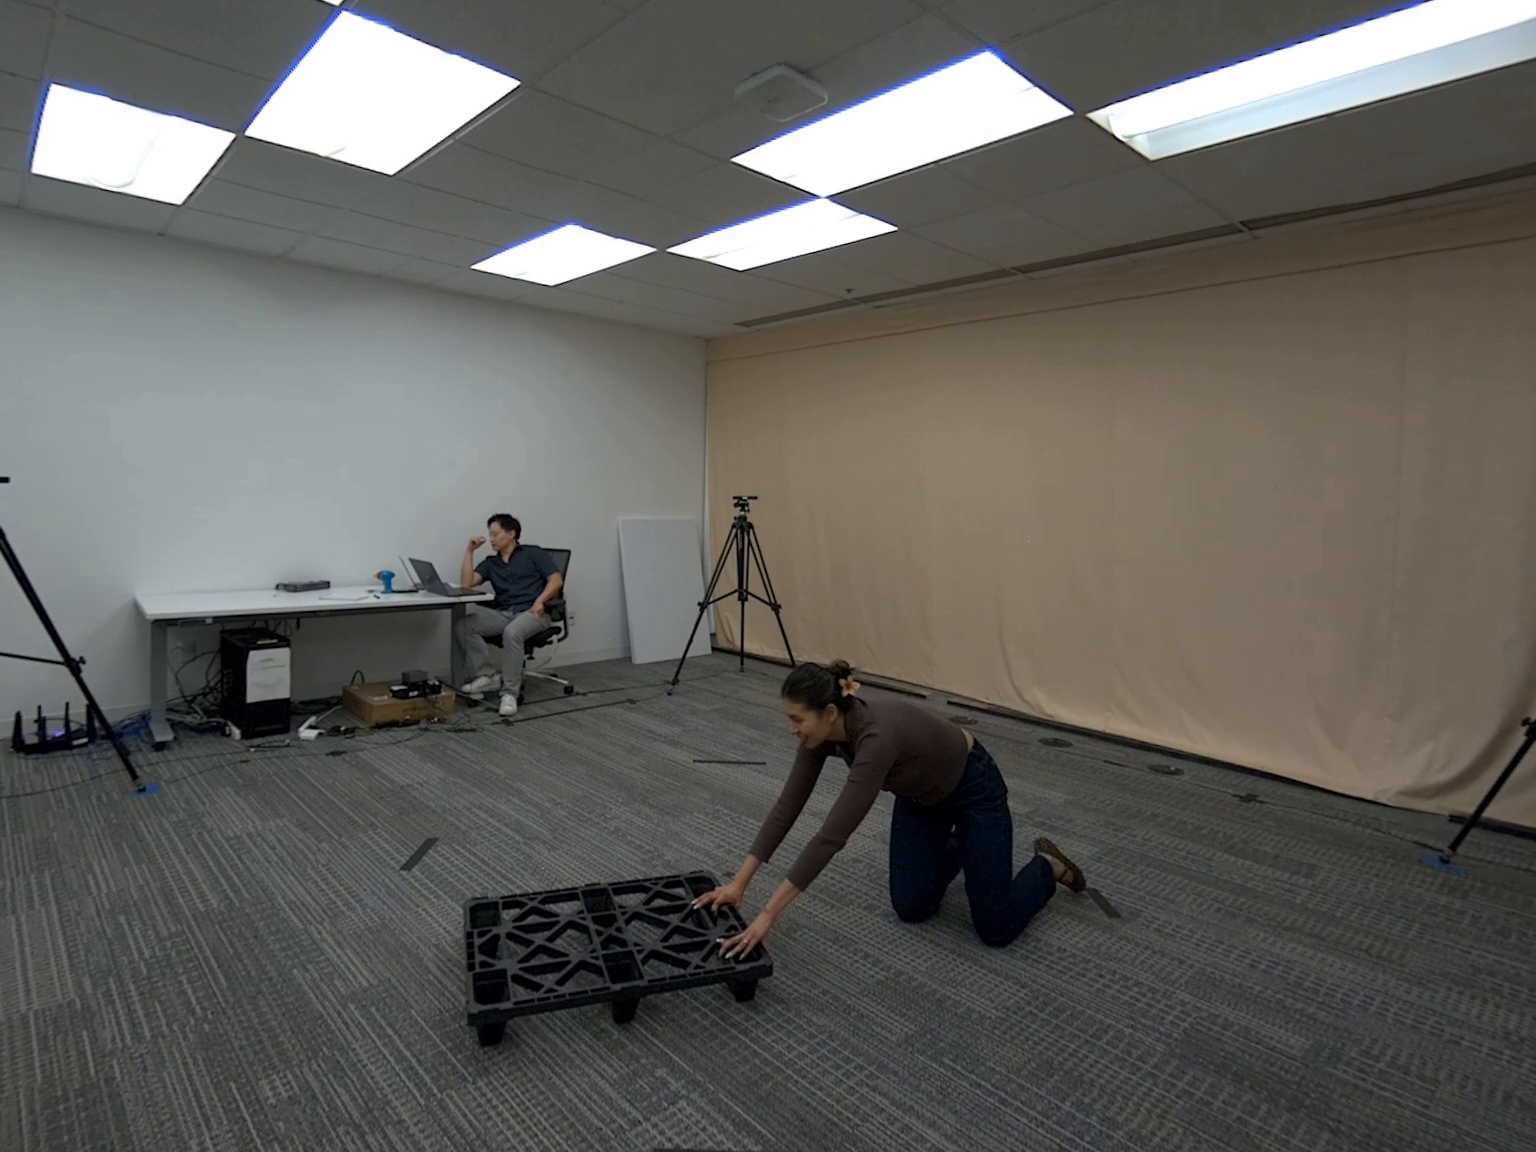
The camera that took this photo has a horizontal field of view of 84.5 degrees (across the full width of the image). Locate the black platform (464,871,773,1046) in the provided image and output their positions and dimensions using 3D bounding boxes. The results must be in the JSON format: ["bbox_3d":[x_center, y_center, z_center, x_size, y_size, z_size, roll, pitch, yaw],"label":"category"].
[{"bbox_3d":[-0.456,1.091,2.430,0.794,0.143,0.616,-1,6,-20],"label":"black platform"}]
